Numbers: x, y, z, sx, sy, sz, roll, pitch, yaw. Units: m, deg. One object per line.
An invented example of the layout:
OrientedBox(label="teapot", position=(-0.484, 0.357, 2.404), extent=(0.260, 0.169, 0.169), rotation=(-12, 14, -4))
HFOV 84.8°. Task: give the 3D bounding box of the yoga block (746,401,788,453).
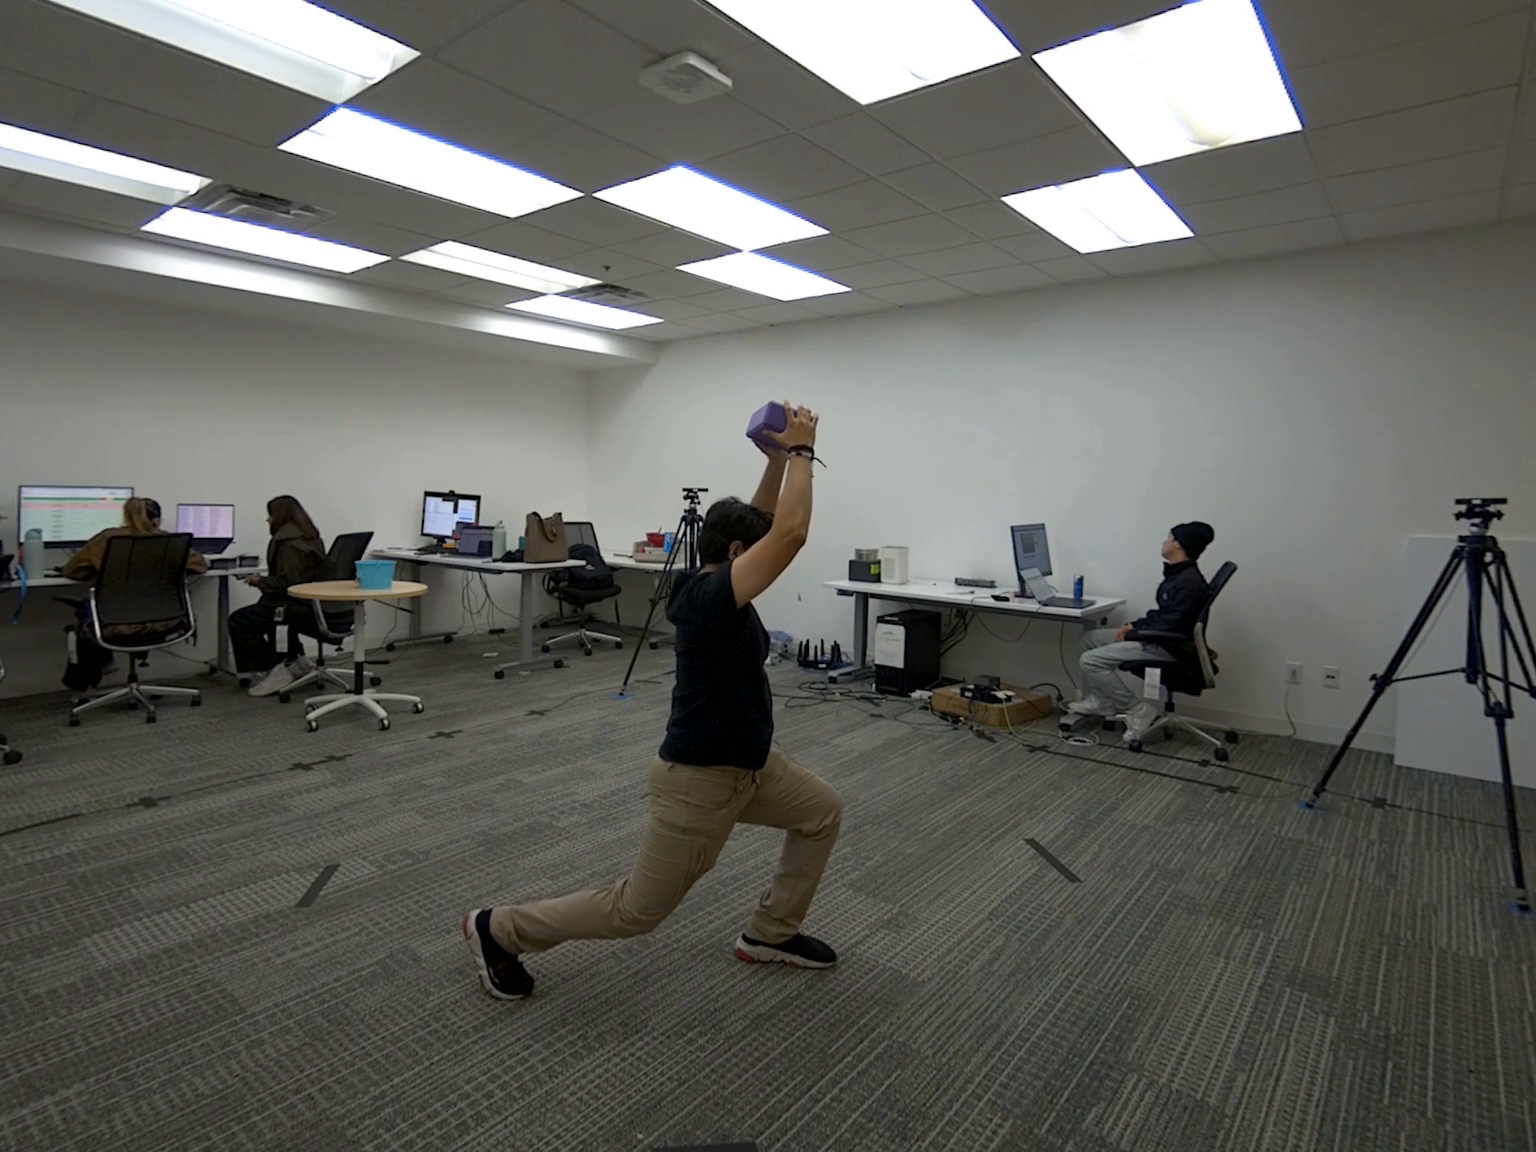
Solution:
OrientedBox(label="yoga block", position=(0.031, -0.430, 2.463), extent=(0.147, 0.077, 0.232), rotation=(22, -6, -13))
